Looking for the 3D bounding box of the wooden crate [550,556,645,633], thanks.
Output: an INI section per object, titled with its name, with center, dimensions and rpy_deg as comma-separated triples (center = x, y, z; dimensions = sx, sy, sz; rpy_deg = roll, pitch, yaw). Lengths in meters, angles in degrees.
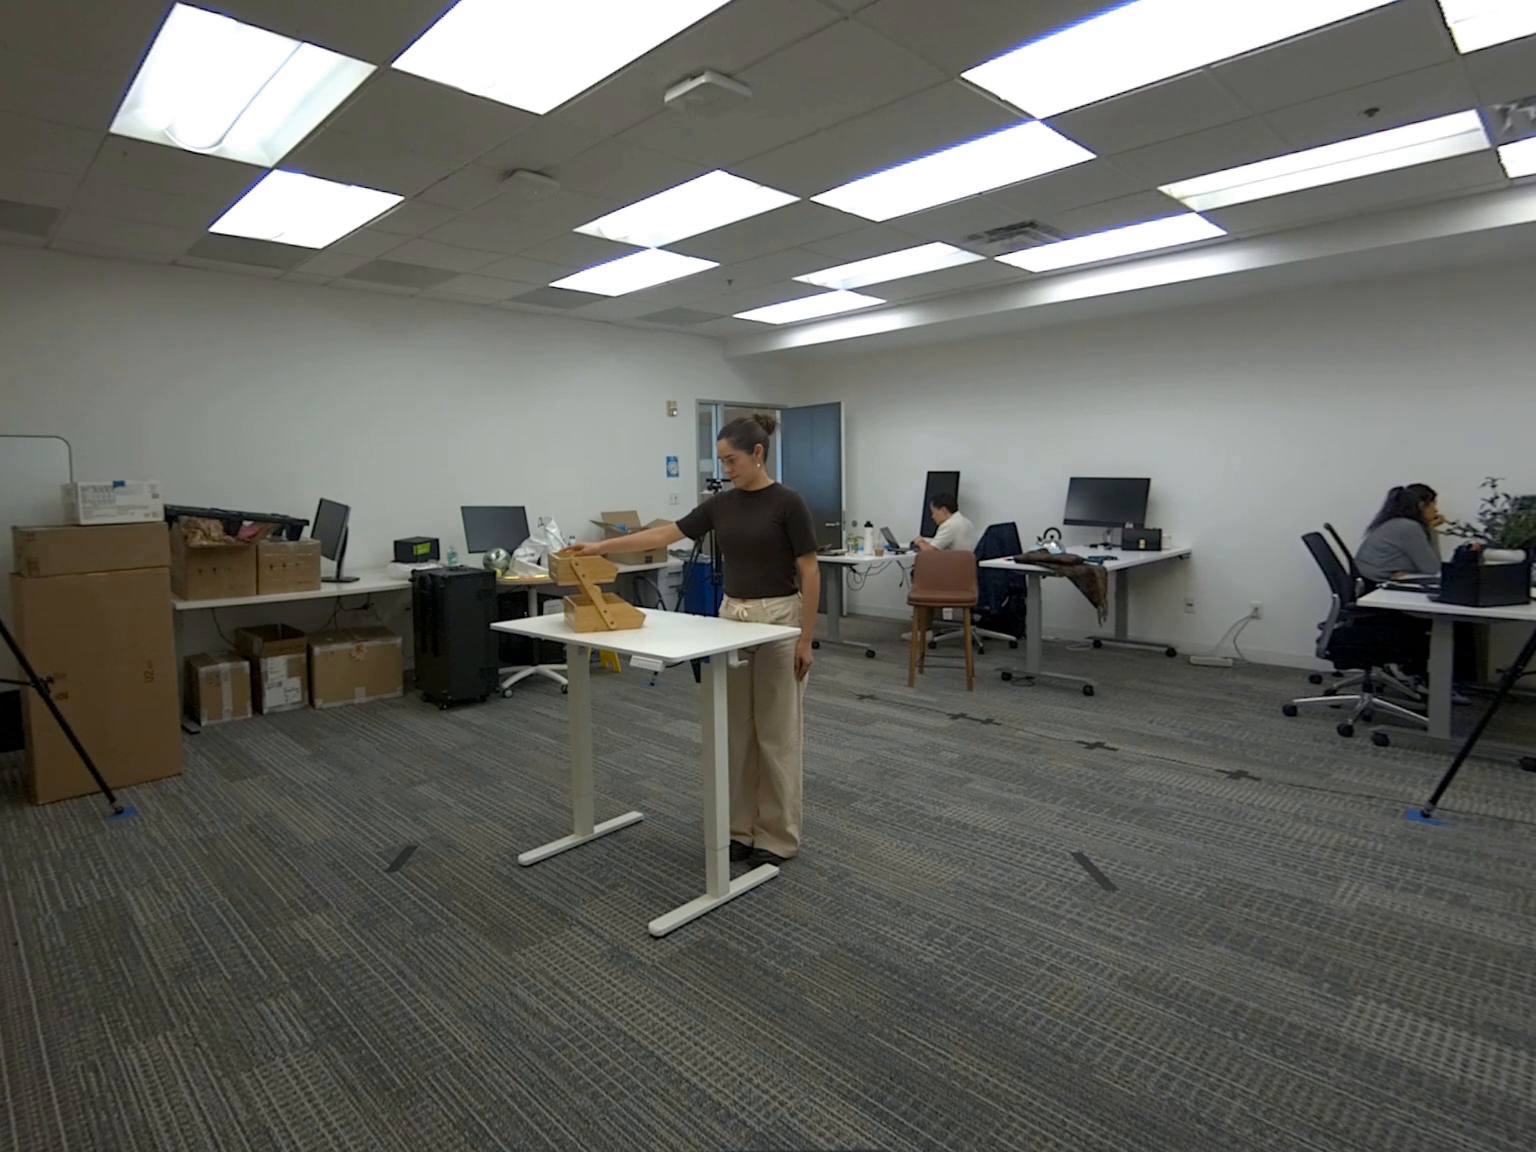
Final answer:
[wooden crate]
center = -0.622, 0.045, 3.073
dimensions = 0.297, 0.272, 0.331
rpy_deg = -4, 5, -19
